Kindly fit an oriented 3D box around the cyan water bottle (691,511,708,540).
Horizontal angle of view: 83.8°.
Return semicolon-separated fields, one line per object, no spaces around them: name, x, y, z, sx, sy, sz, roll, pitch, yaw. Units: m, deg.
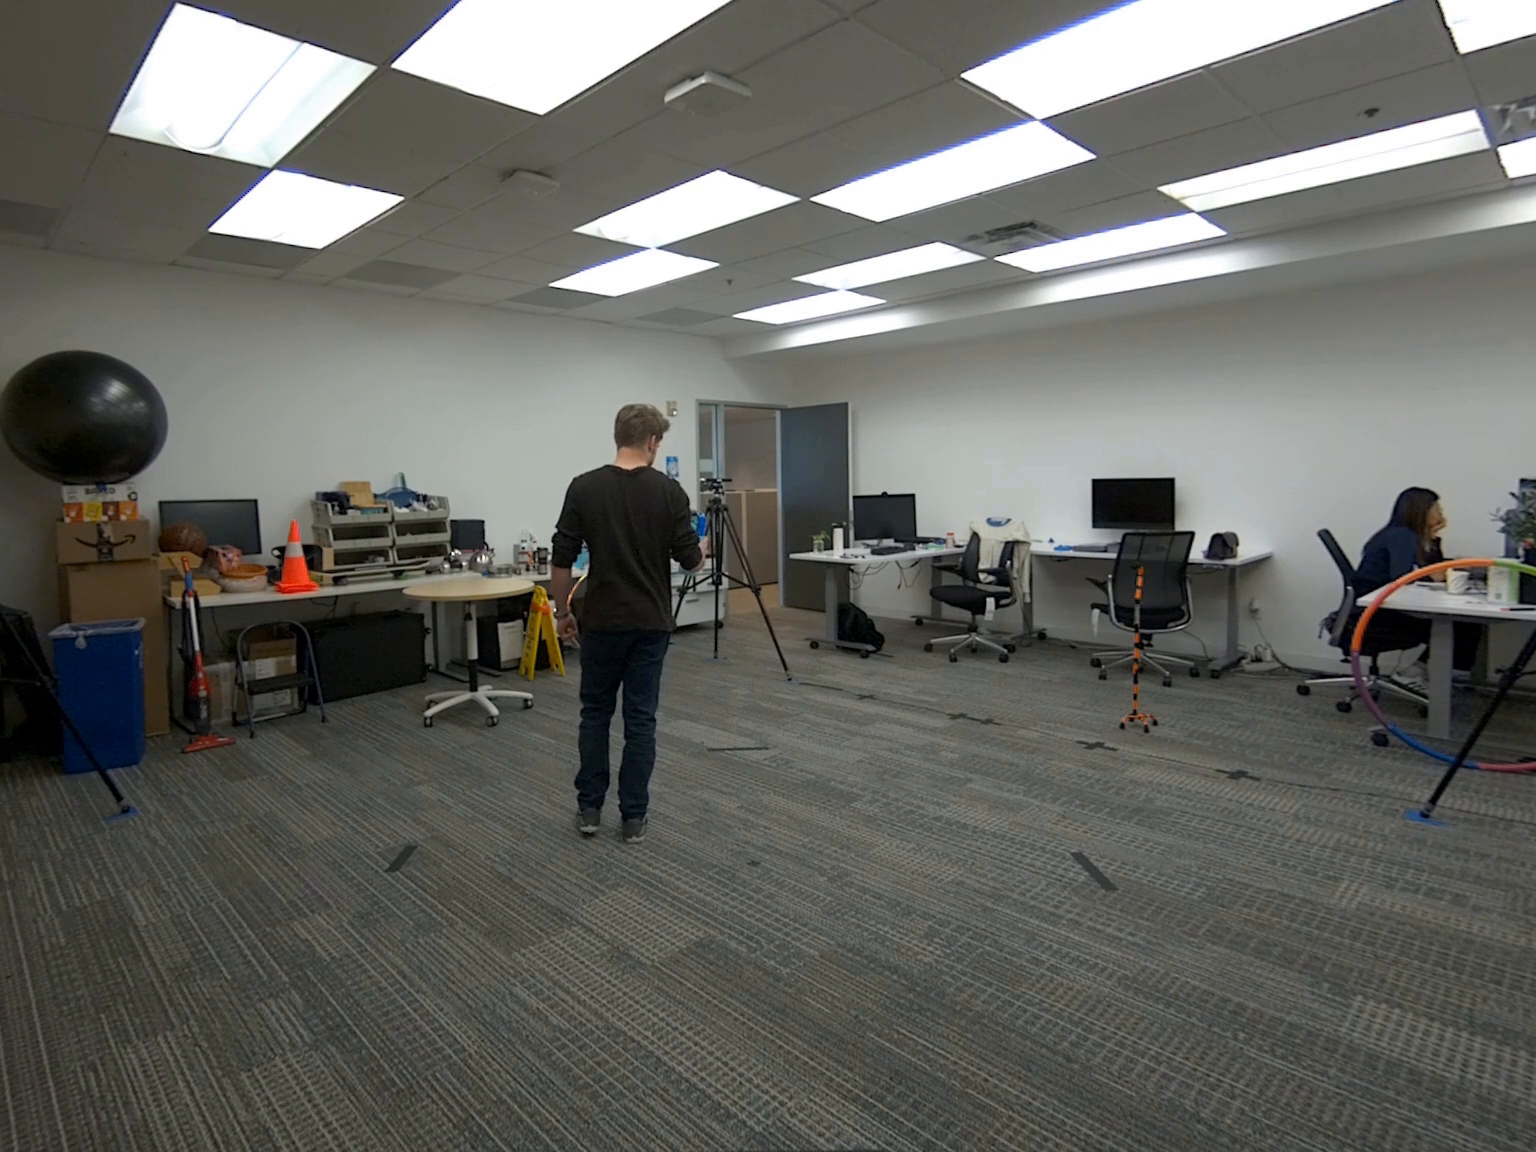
cyan water bottle;-0.322;-0.145;3.701;0.092;0.284;0.092;8;-1;-2
